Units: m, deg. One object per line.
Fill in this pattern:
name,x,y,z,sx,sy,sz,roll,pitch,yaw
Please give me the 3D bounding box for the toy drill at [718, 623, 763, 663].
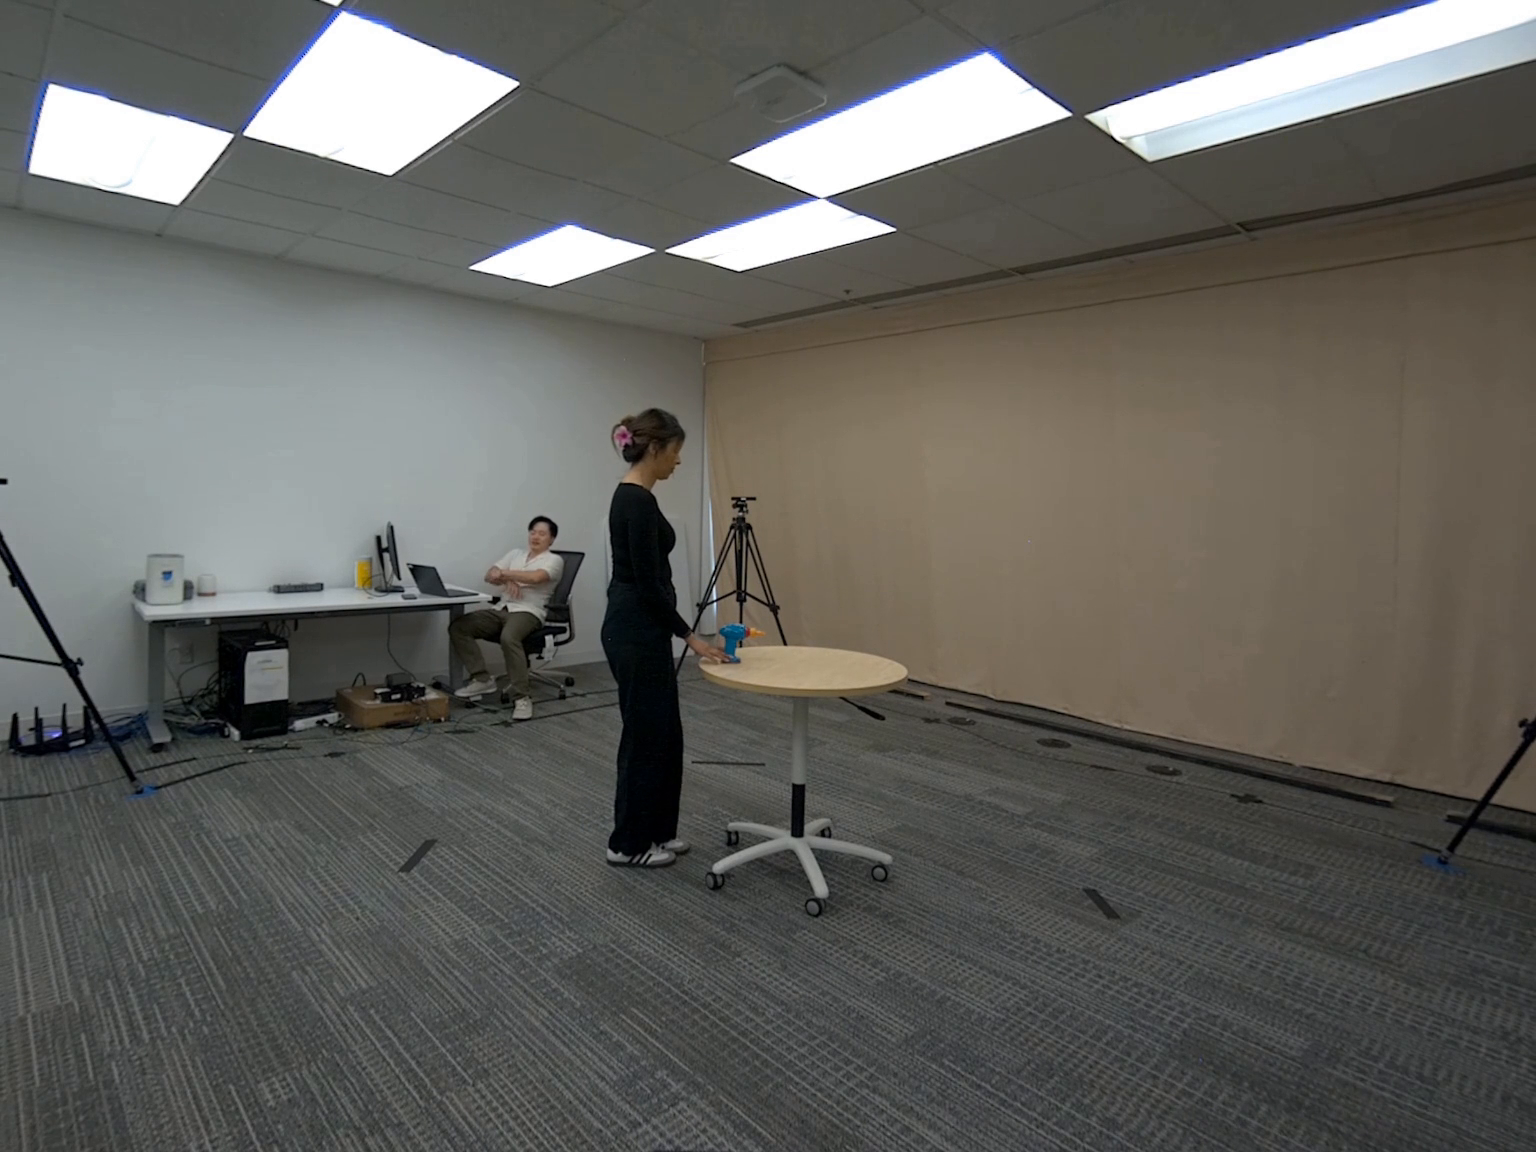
toy drill,-0.103,0.247,3.115,0.170,0.145,0.061,2,4,-1
